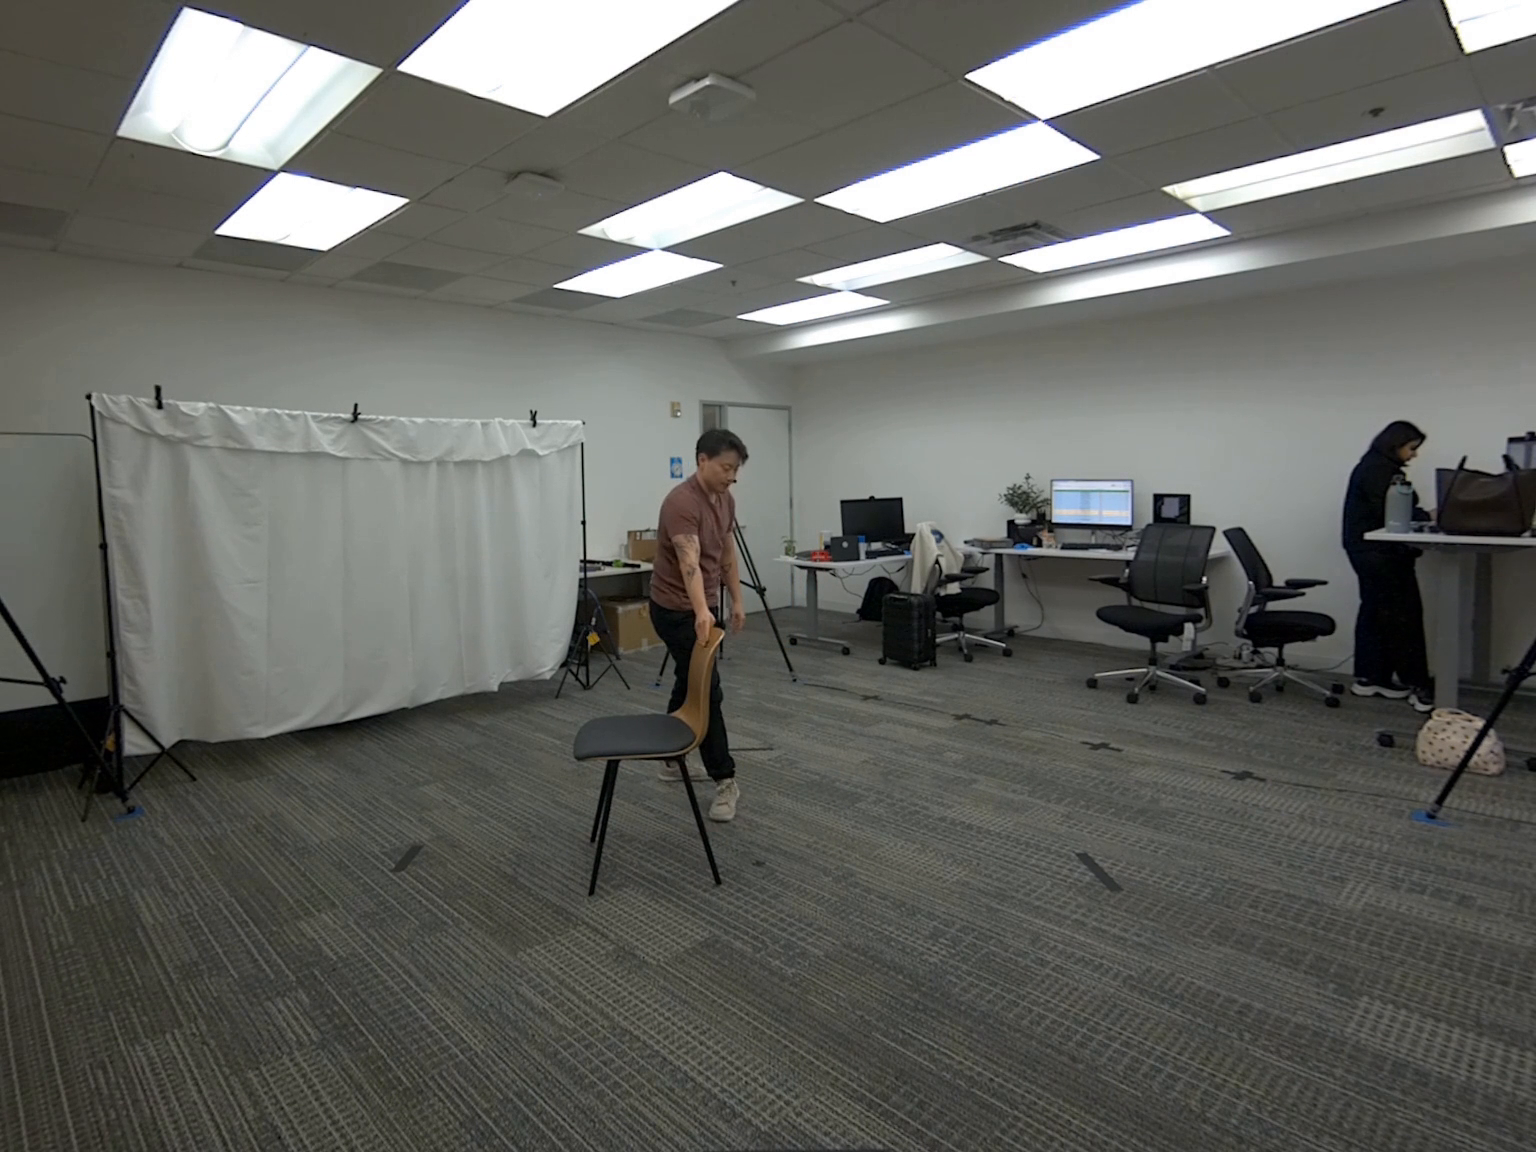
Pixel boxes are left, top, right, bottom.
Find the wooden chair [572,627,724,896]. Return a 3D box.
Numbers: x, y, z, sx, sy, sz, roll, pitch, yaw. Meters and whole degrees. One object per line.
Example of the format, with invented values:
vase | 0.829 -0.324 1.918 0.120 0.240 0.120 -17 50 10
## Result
wooden chair | -0.444 0.630 3.105 0.518 0.875 0.484 2 4 -10
